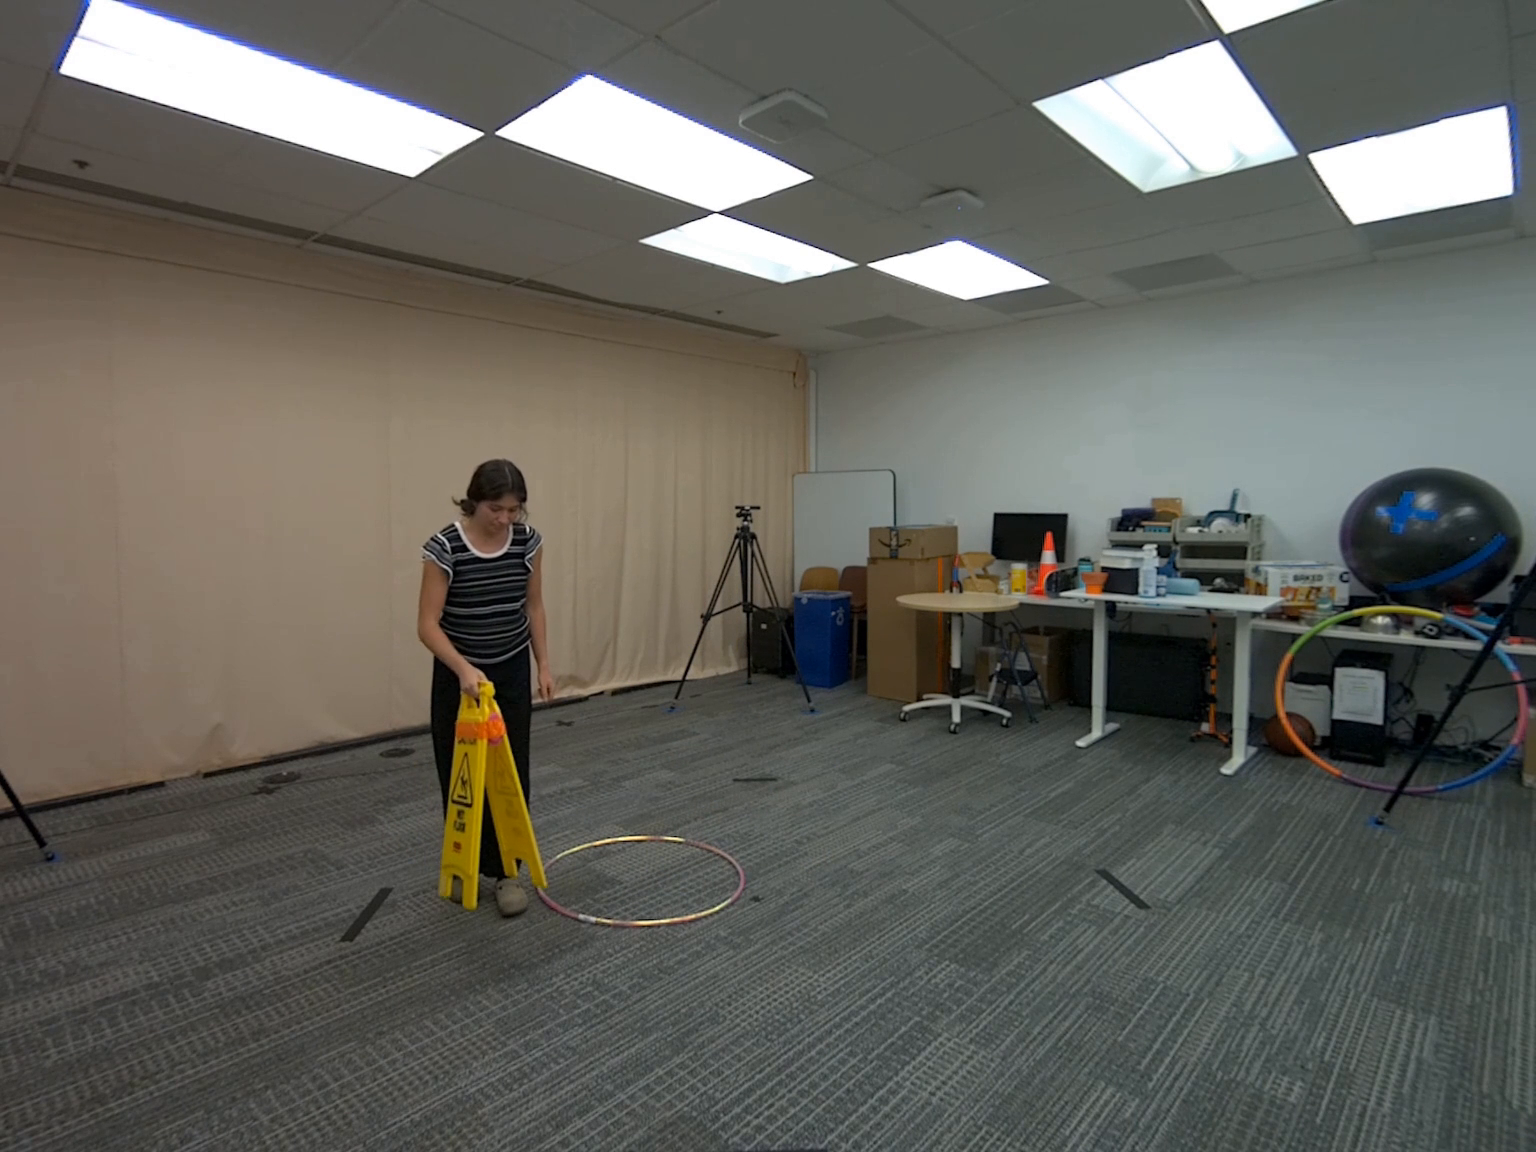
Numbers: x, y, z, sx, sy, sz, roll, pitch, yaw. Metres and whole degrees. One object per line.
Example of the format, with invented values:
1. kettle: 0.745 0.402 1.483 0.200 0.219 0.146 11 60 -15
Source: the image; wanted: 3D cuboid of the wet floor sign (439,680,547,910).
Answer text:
1. wet floor sign: -0.898 0.663 2.657 0.281 0.649 0.290 0 -7 -41
